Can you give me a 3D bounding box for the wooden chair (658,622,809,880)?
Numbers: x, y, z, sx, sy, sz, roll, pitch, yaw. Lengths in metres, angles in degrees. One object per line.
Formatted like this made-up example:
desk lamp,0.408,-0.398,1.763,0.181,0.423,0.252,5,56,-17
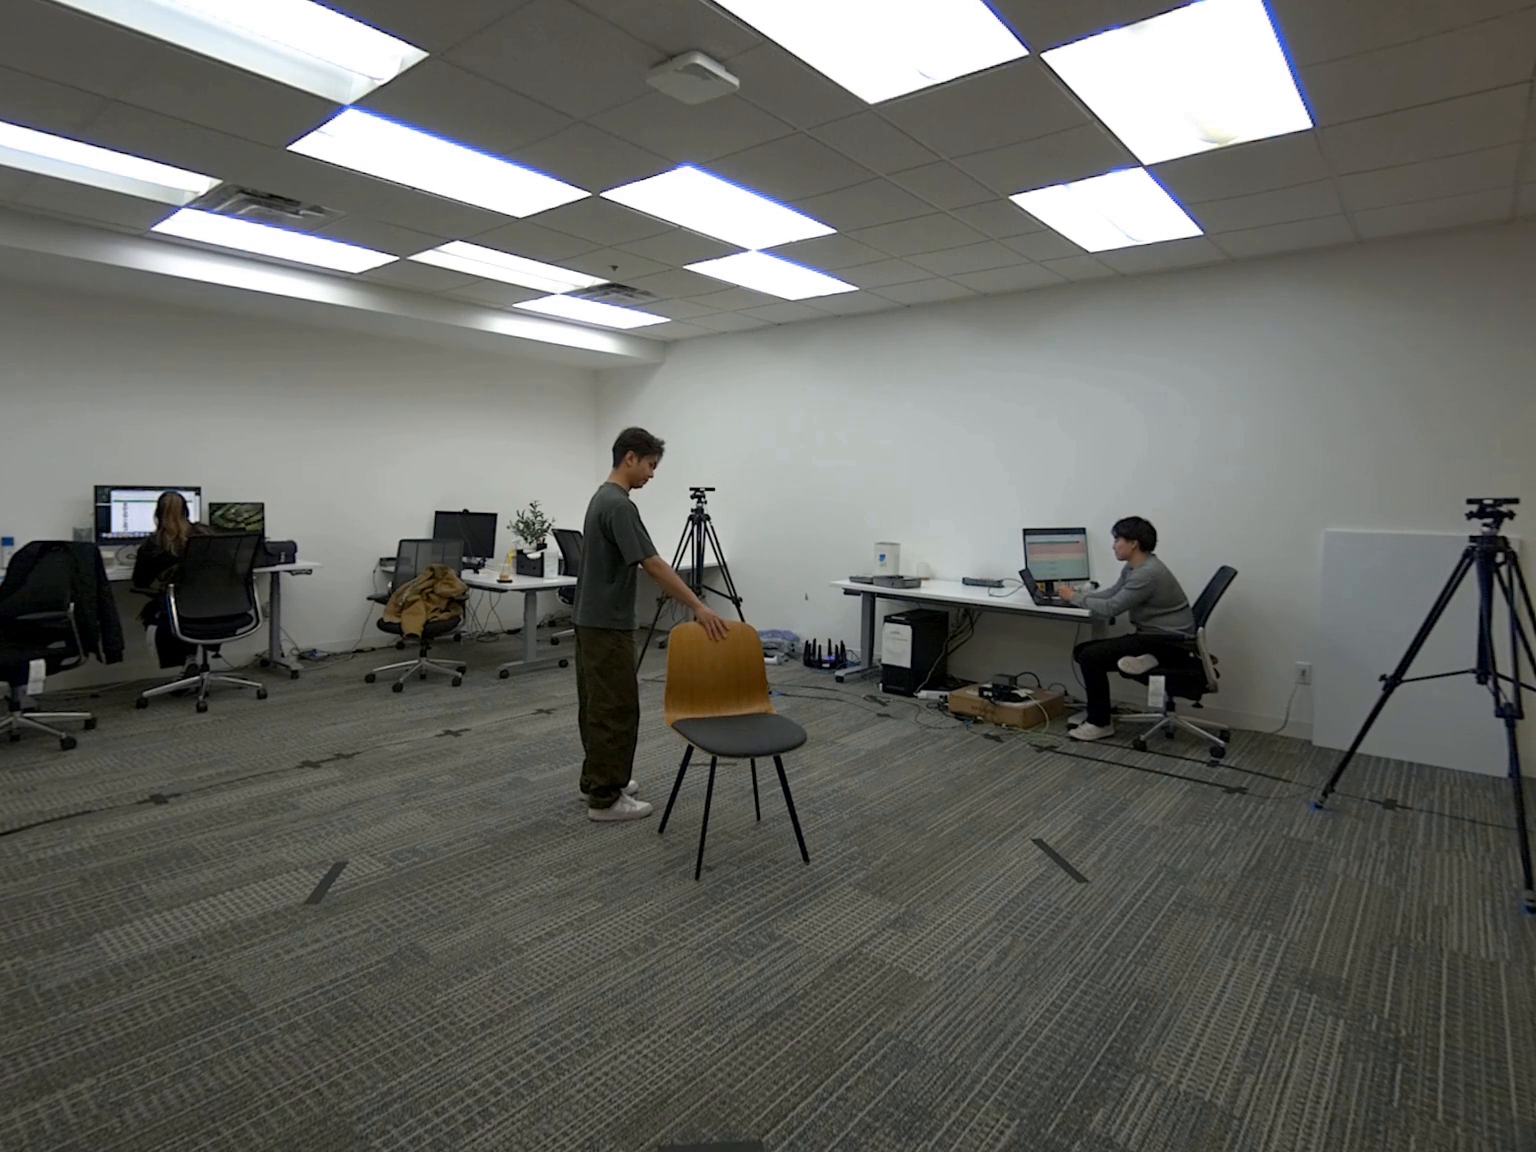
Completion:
wooden chair,-0.141,0.625,3.265,0.467,0.878,0.534,0,-1,-23
